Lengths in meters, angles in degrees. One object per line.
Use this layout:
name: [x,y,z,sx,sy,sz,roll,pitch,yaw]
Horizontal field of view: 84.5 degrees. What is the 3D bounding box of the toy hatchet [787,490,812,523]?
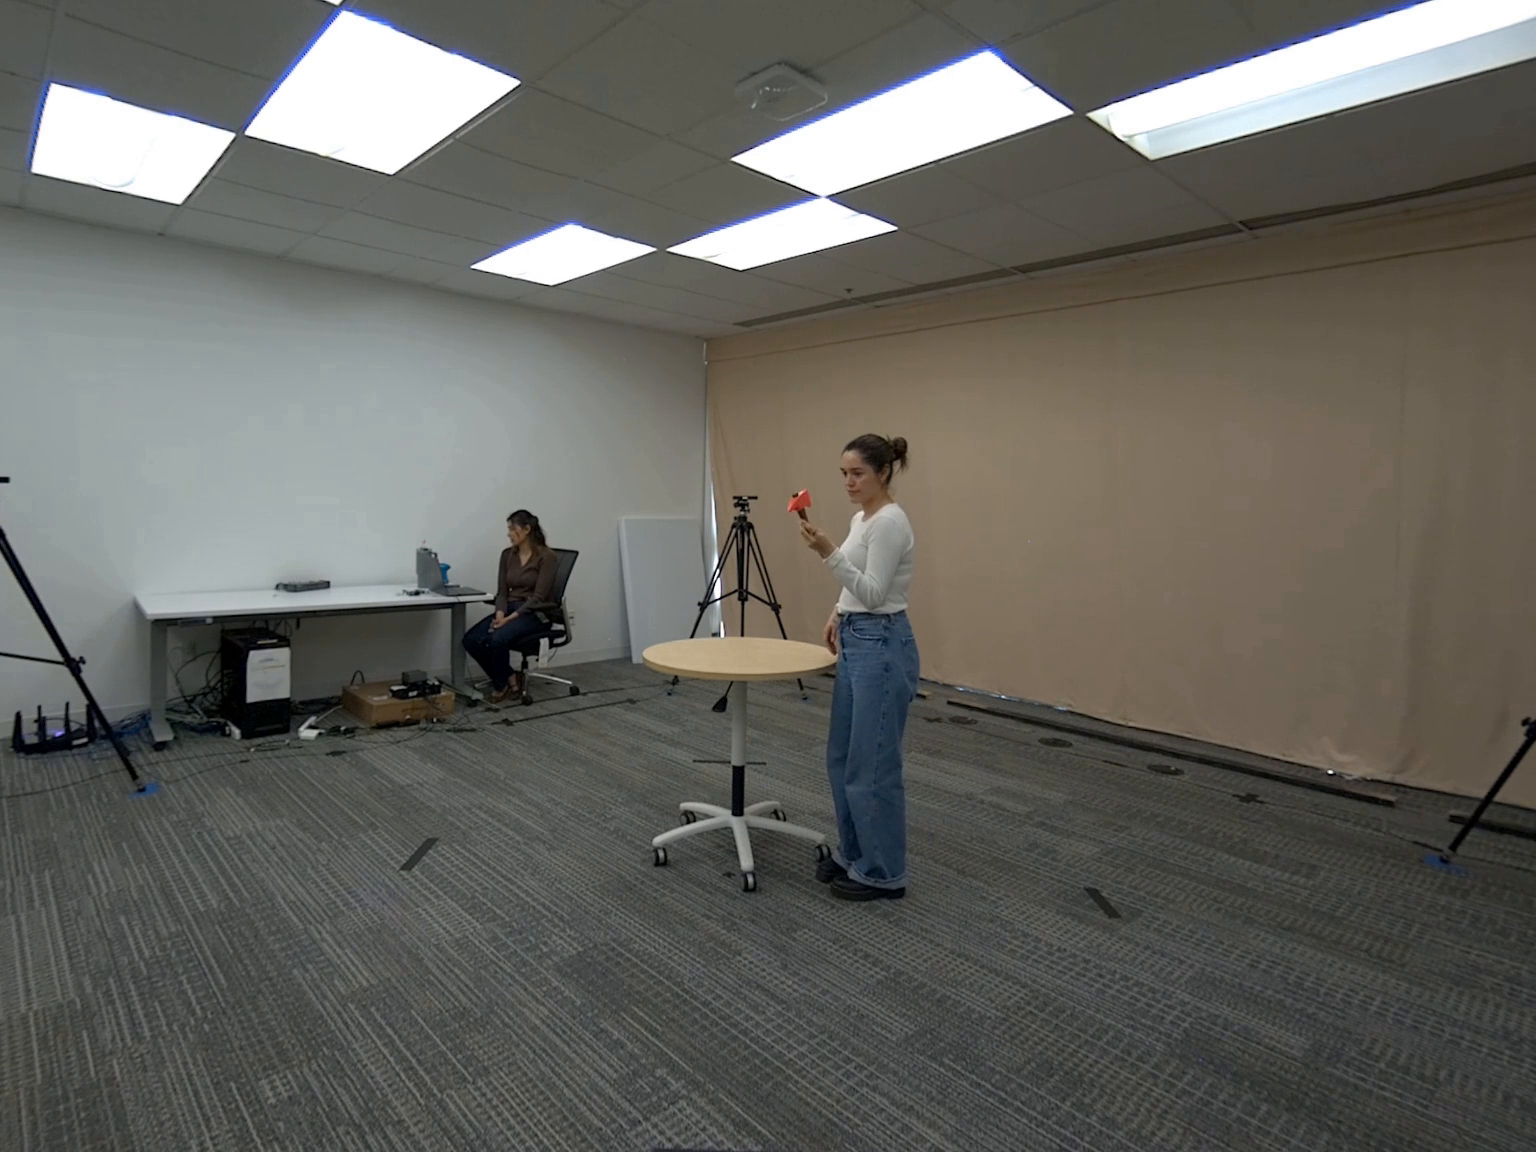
toy hatchet: [0.143,-0.185,2.823,0.030,0.132,0.262,-7,-42,36]
